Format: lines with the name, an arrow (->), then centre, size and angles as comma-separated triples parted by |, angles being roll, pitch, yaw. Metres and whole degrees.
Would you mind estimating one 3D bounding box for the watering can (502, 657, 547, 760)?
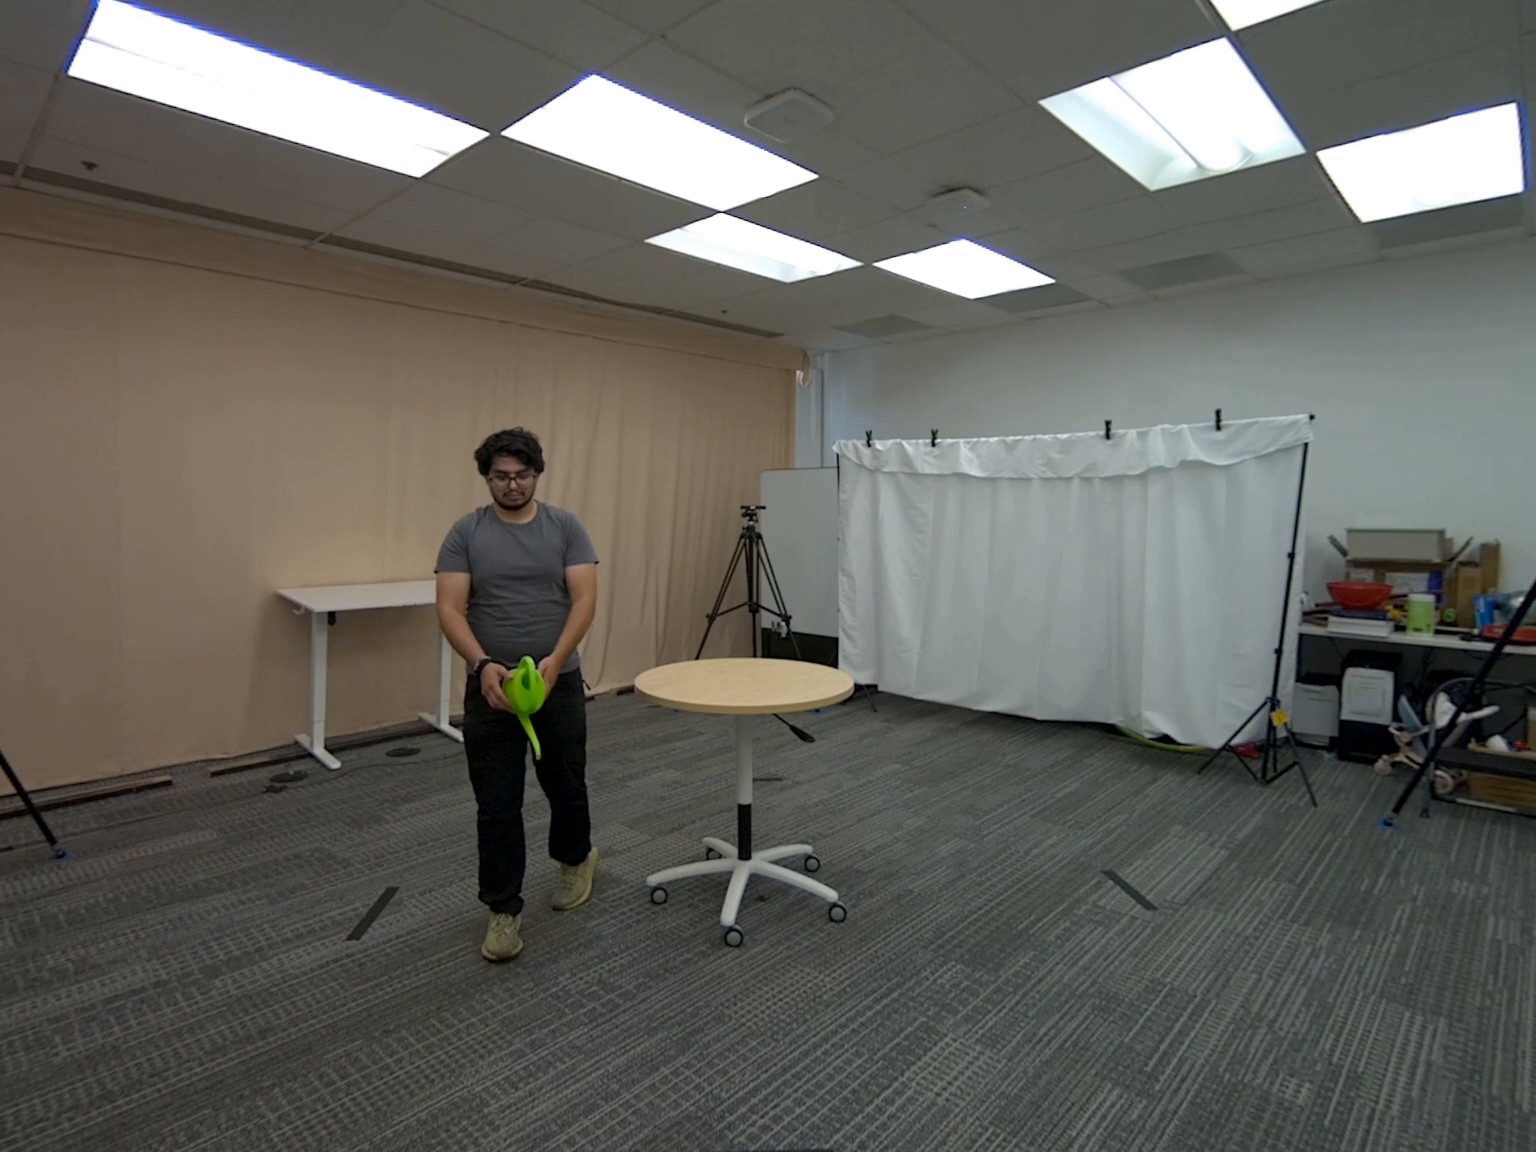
watering can -> -0.699, 0.371, 2.413 | 0.095, 0.280, 0.180 | 13, -15, -25
